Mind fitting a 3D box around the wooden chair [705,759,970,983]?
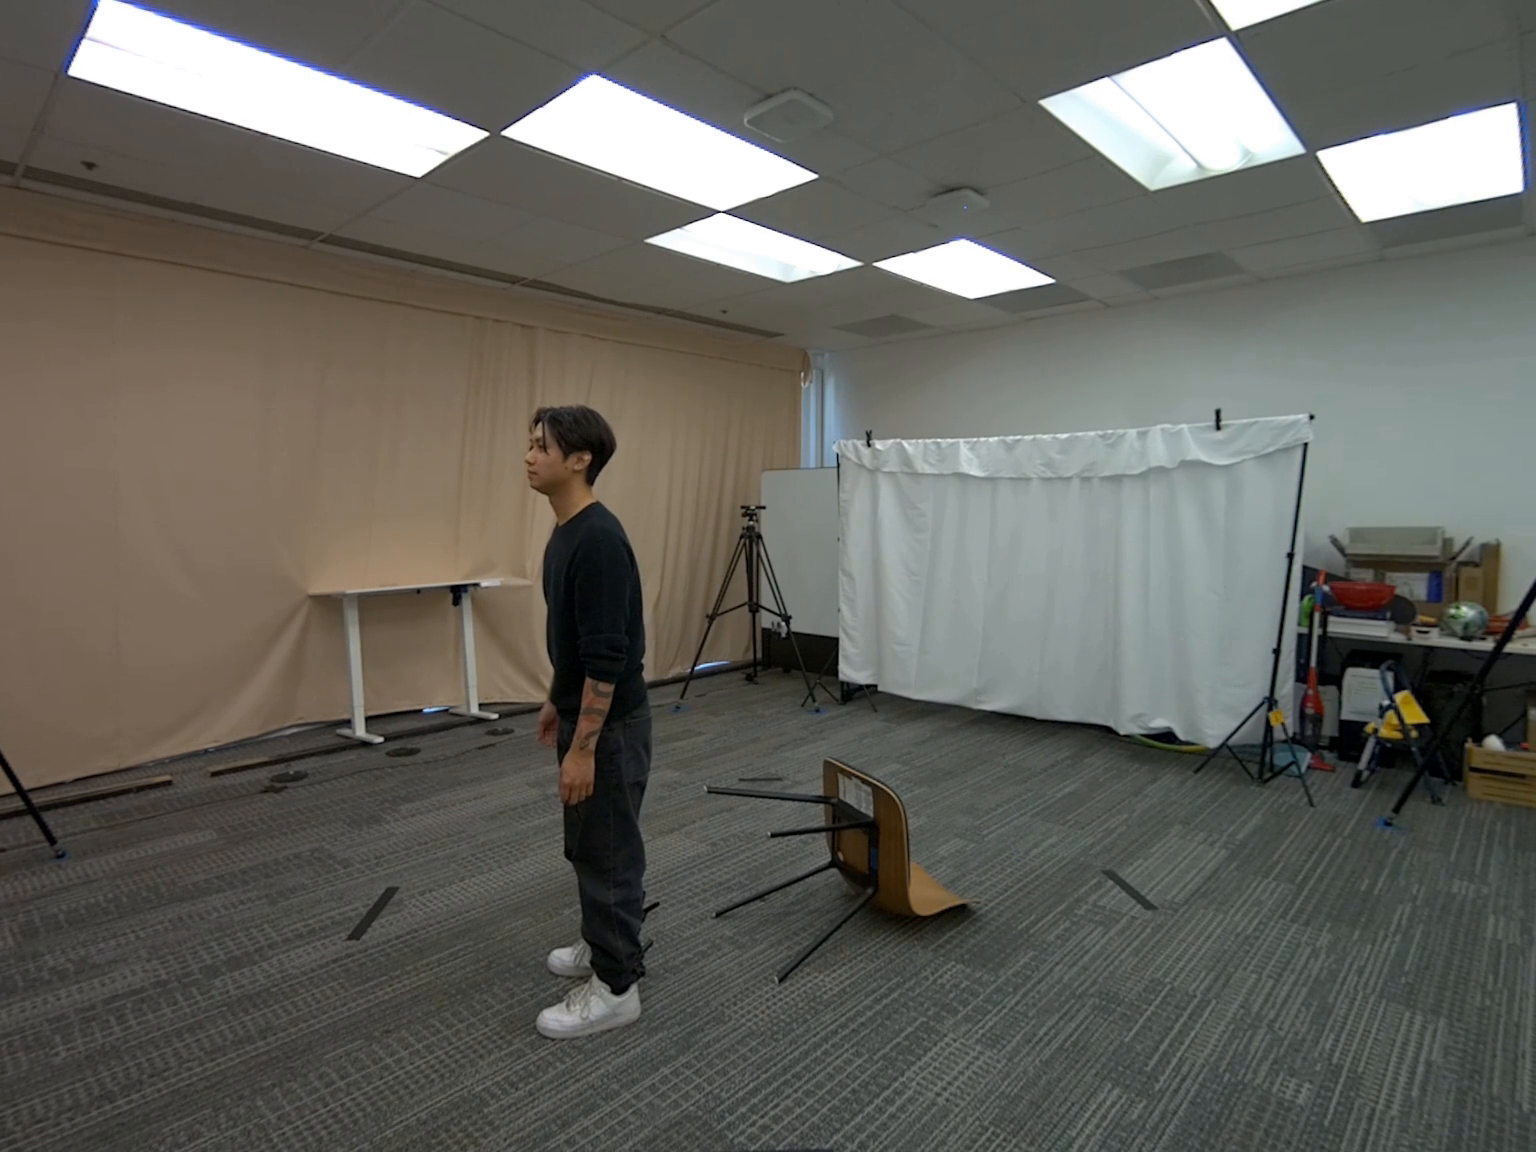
[{"bbox_3d":[0.286,0.899,2.807,0.856,0.522,0.491,-1,4,-26],"label":"wooden chair"}]
